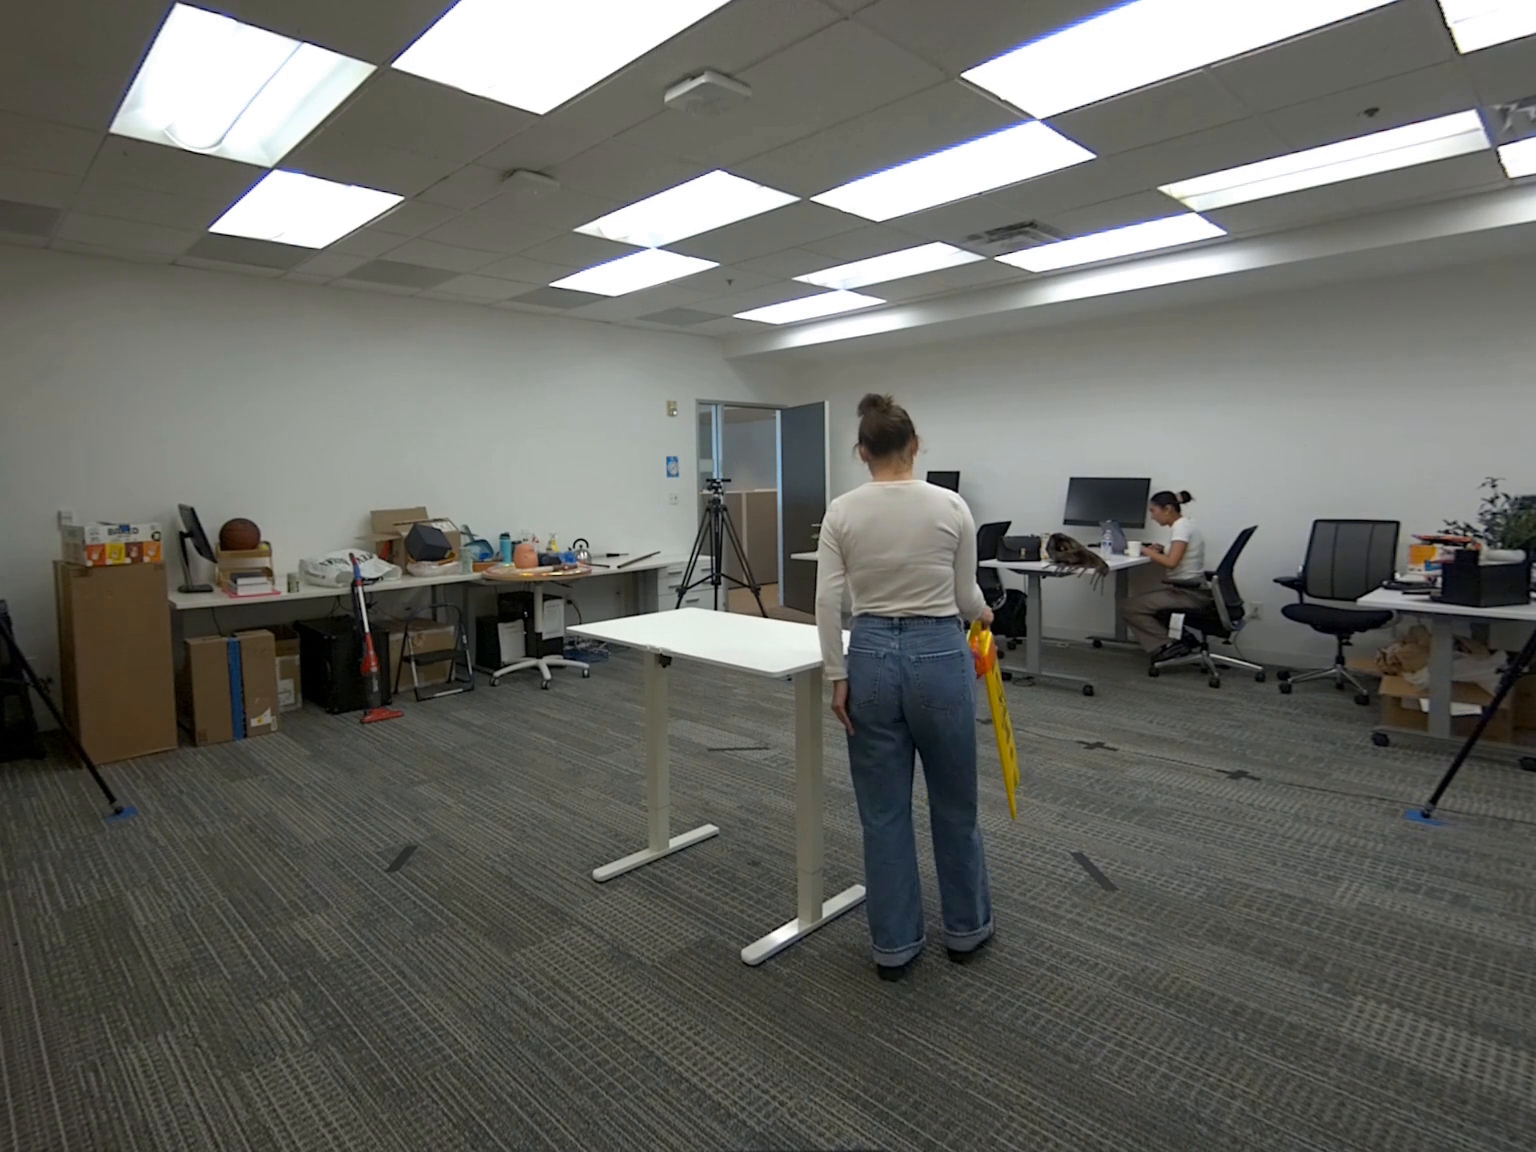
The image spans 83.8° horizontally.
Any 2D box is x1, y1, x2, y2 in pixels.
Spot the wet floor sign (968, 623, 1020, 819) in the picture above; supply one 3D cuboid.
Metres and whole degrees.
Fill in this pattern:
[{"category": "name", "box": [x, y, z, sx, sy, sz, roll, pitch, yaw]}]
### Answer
[{"category": "wet floor sign", "box": [0.686, 0.422, 2.776, 0.295, 0.637, 0.281, 4, 16, 19]}]
